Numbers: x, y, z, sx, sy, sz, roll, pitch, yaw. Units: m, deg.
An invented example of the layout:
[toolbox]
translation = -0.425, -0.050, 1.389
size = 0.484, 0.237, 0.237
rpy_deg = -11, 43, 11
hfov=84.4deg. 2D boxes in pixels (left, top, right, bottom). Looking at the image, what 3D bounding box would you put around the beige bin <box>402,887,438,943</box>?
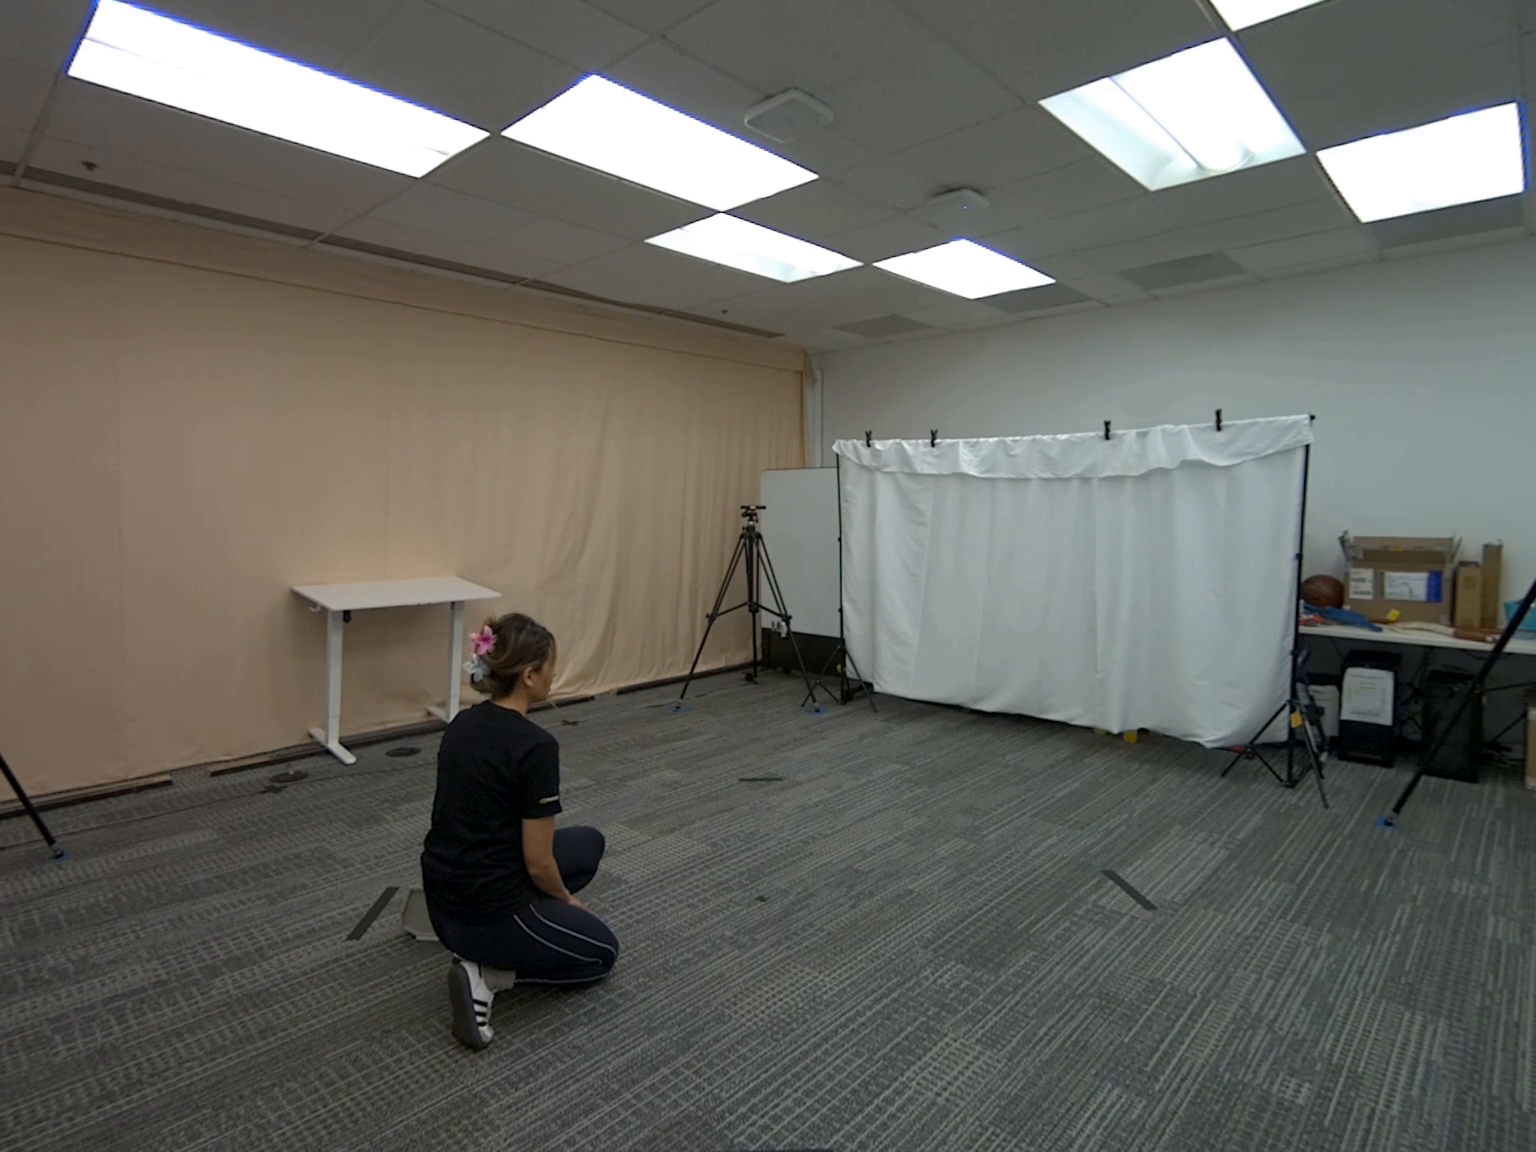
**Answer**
[beige bin]
translation = -1.008, 1.077, 2.898
size = 0.379, 0.188, 0.421
rpy_deg = 1, 4, 3
